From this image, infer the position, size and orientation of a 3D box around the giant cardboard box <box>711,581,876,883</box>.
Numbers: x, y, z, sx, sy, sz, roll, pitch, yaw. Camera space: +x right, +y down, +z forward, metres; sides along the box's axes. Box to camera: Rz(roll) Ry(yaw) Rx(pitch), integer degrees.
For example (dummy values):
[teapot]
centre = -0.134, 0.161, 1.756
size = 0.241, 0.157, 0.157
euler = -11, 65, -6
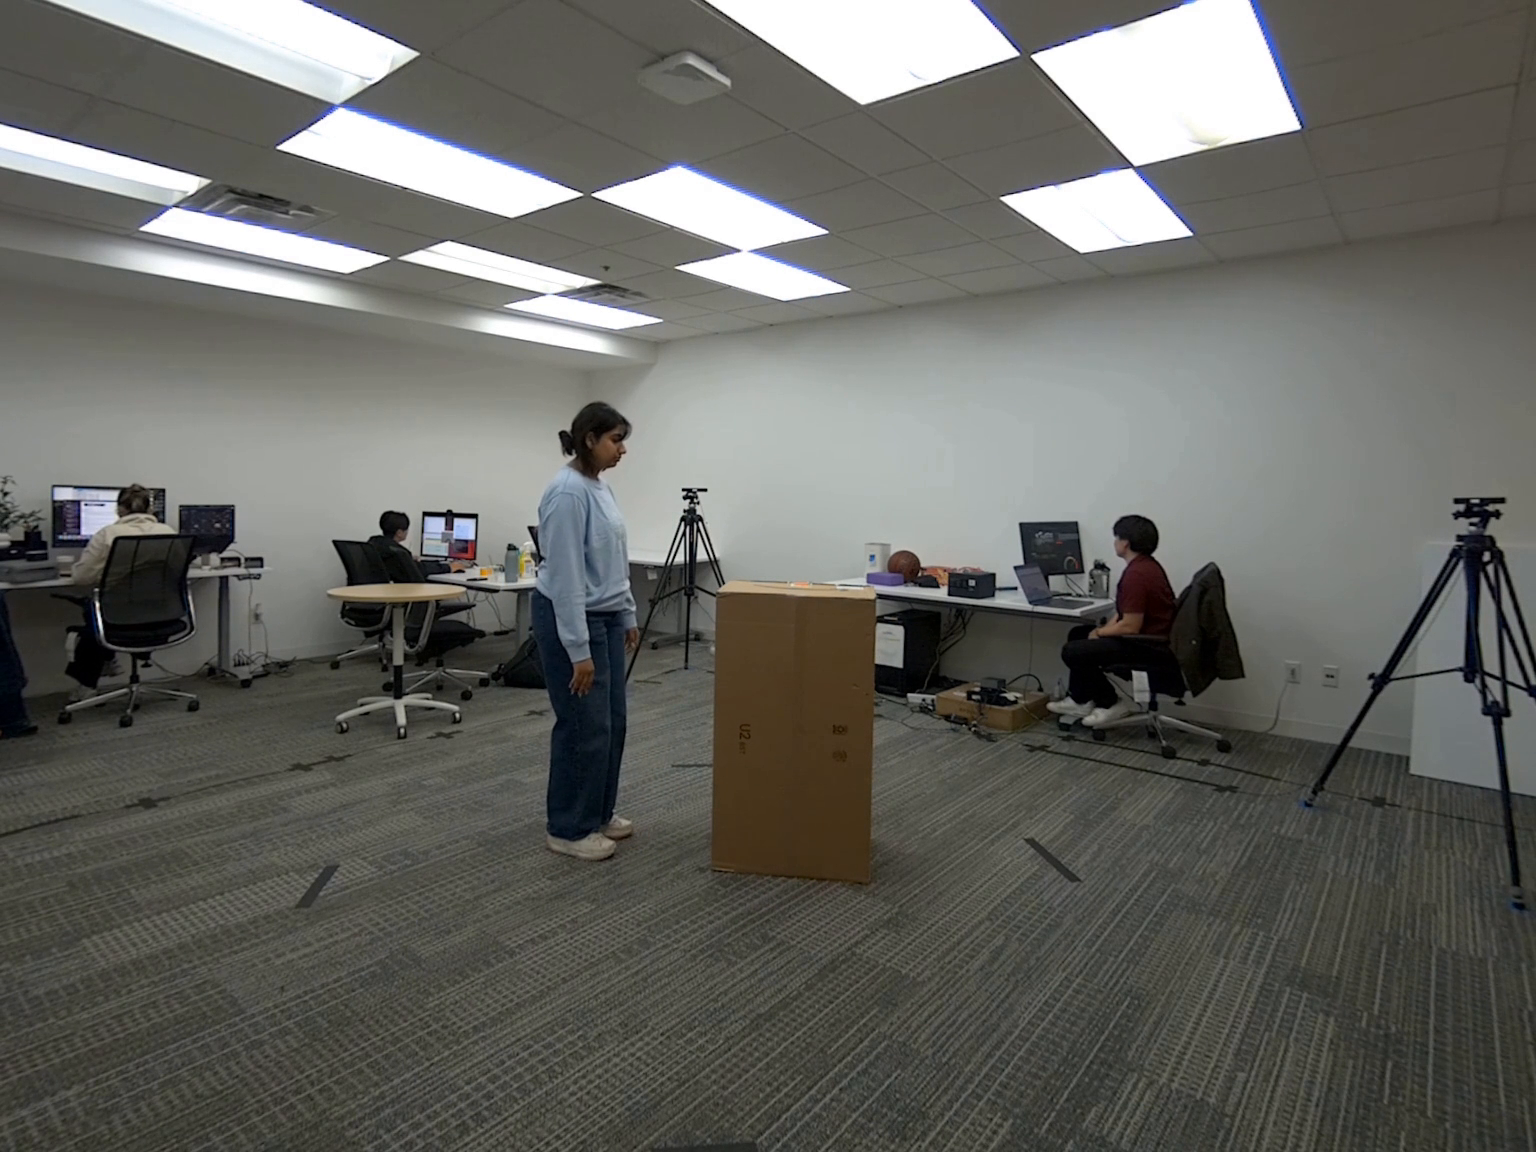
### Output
[giant cardboard box]
centre = 0.098, 0.556, 3.239
size = 0.583, 1.023, 0.424
euler = 2, 3, 7
